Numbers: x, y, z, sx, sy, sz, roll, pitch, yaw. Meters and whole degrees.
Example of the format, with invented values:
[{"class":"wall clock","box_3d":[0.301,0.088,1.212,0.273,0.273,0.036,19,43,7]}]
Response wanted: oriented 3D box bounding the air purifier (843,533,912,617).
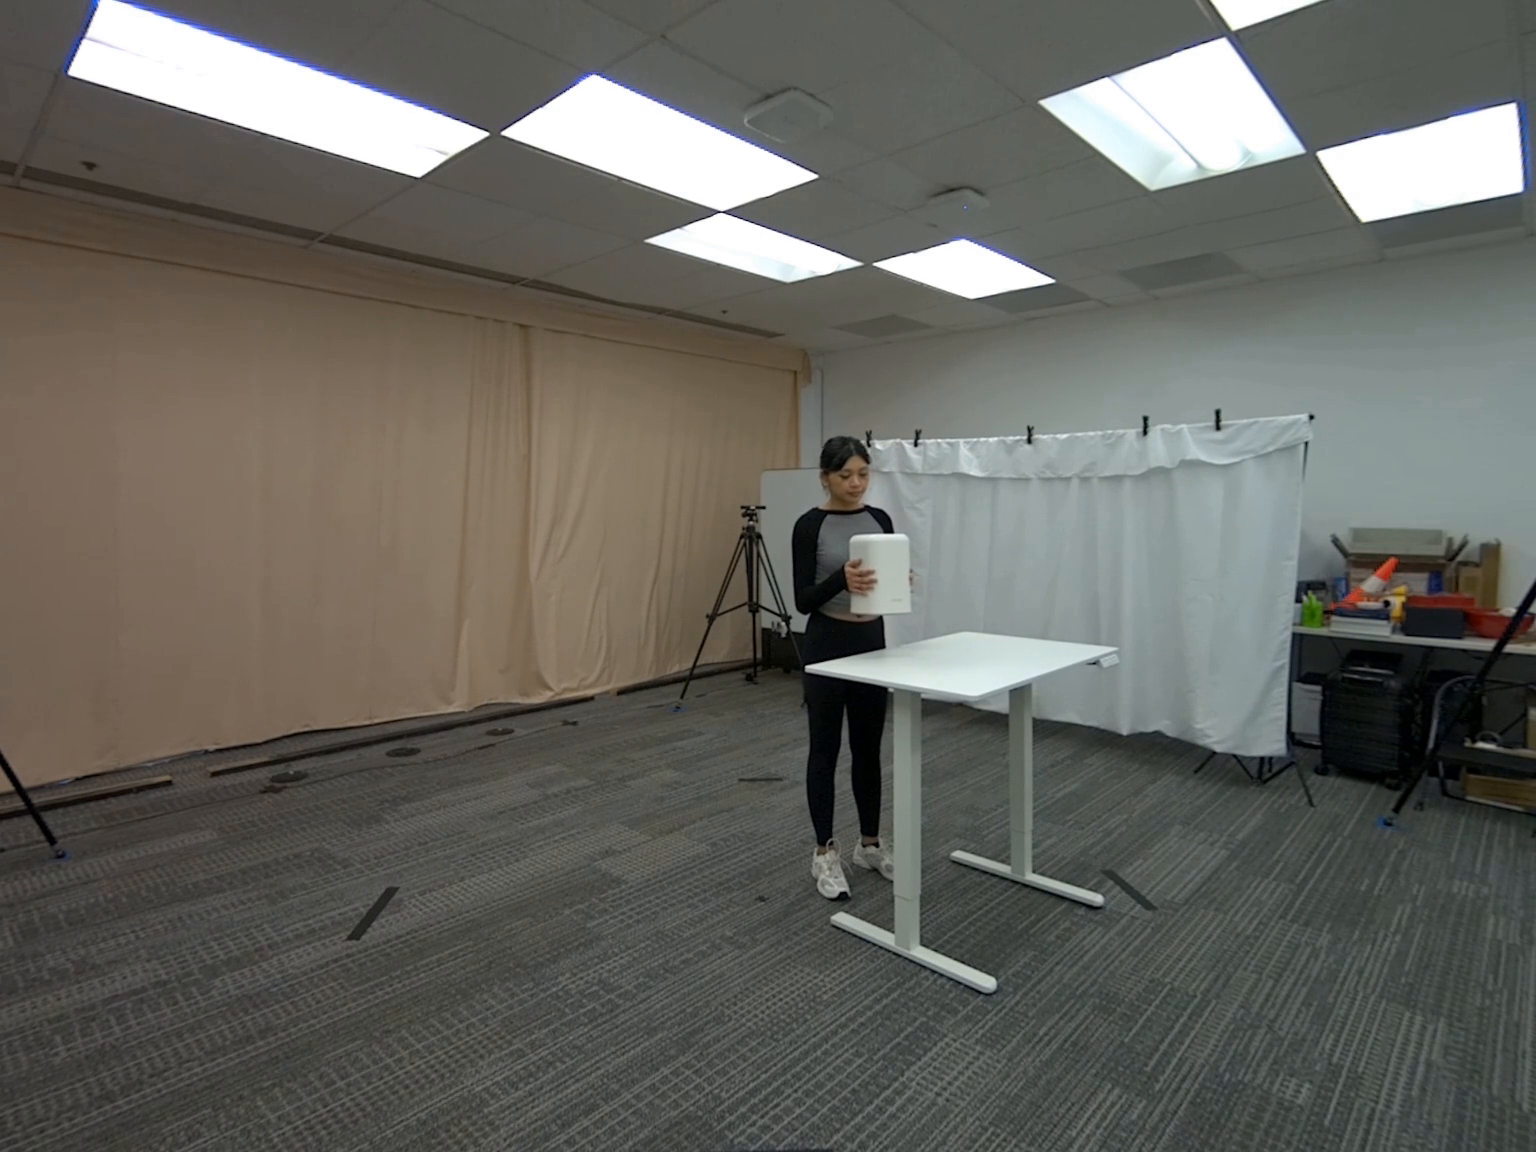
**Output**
[{"class":"air purifier","box_3d":[0.369,-0.007,2.822,0.167,0.265,0.176,-2,0,-27]}]
